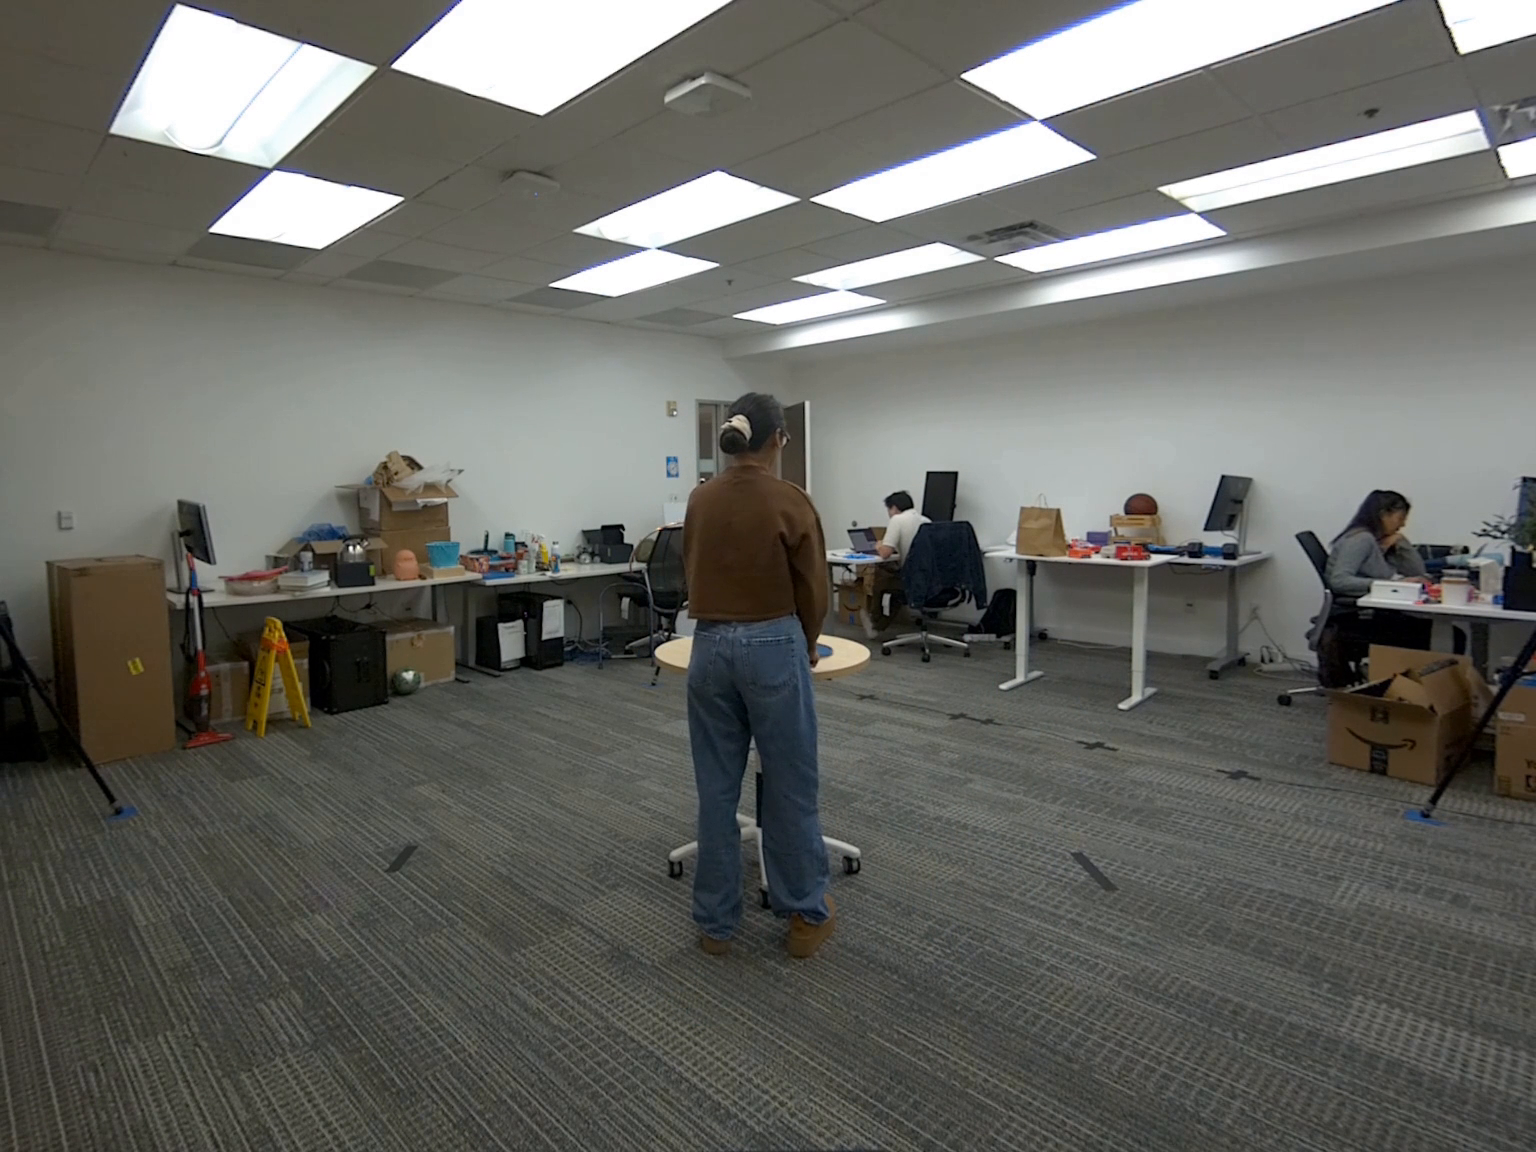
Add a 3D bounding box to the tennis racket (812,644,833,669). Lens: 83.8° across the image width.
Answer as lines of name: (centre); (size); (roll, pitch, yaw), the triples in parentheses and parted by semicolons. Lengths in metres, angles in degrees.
tennis racket: (0.127, 0.271, 2.934); (0.216, 0.031, 0.429); (2, 5, 11)
